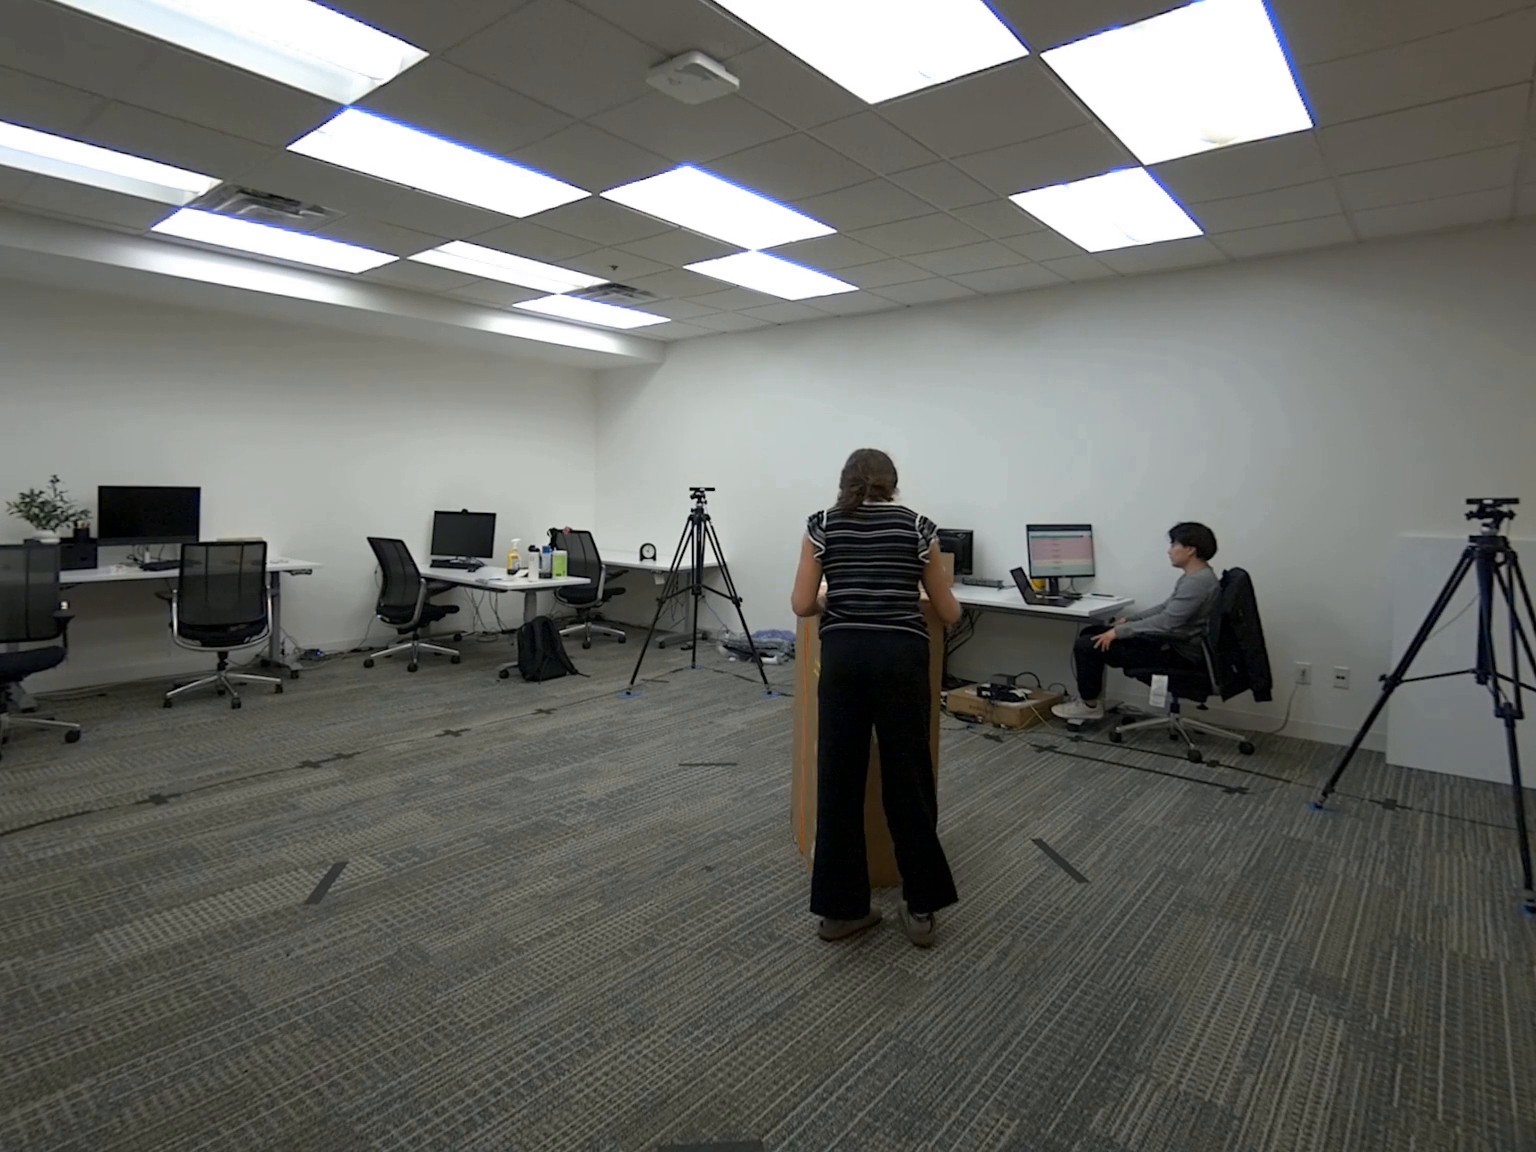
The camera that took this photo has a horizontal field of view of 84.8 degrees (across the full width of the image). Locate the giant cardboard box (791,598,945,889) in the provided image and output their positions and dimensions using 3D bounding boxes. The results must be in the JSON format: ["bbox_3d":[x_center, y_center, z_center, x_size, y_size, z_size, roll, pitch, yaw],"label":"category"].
[{"bbox_3d":[0.345,0.556,3.246,0.424,1.023,0.582,1,3,-6],"label":"giant cardboard box"}]
